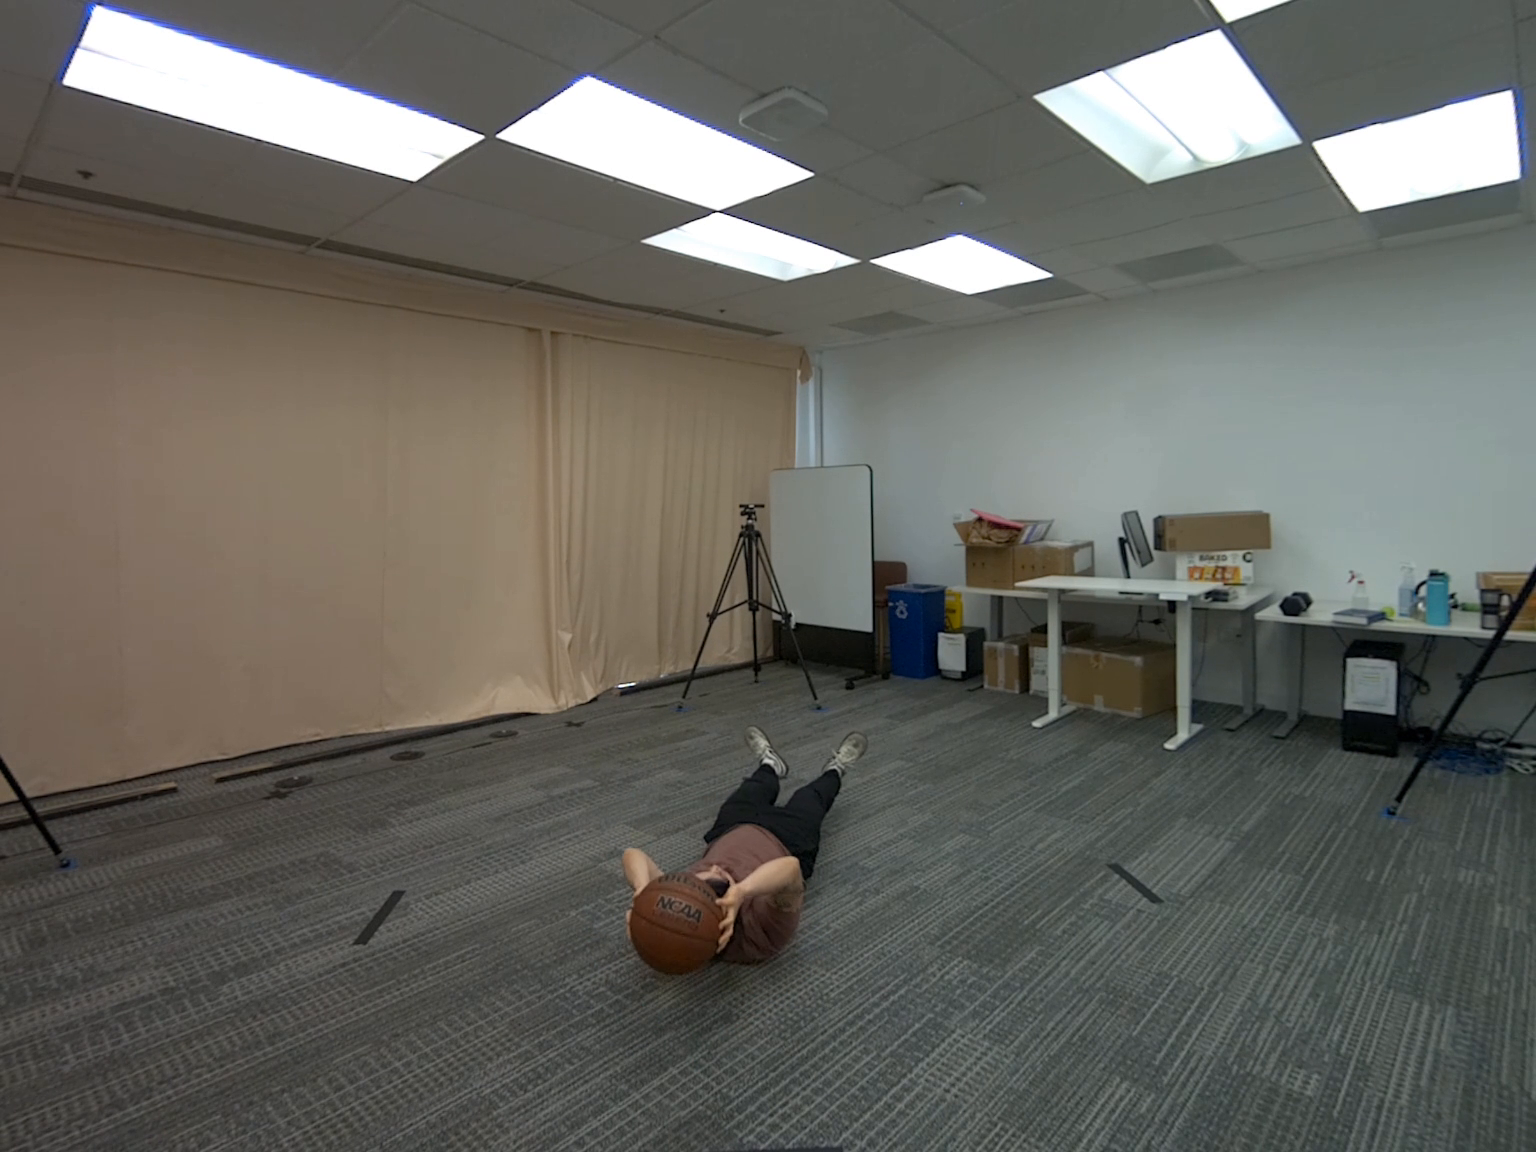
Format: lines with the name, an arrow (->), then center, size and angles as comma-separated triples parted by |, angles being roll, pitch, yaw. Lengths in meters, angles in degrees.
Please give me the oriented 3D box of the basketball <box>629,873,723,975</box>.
basketball -> -0.226, 0.869, 2.115 | 0.235, 0.235, 0.237 | 3, 5, -2
